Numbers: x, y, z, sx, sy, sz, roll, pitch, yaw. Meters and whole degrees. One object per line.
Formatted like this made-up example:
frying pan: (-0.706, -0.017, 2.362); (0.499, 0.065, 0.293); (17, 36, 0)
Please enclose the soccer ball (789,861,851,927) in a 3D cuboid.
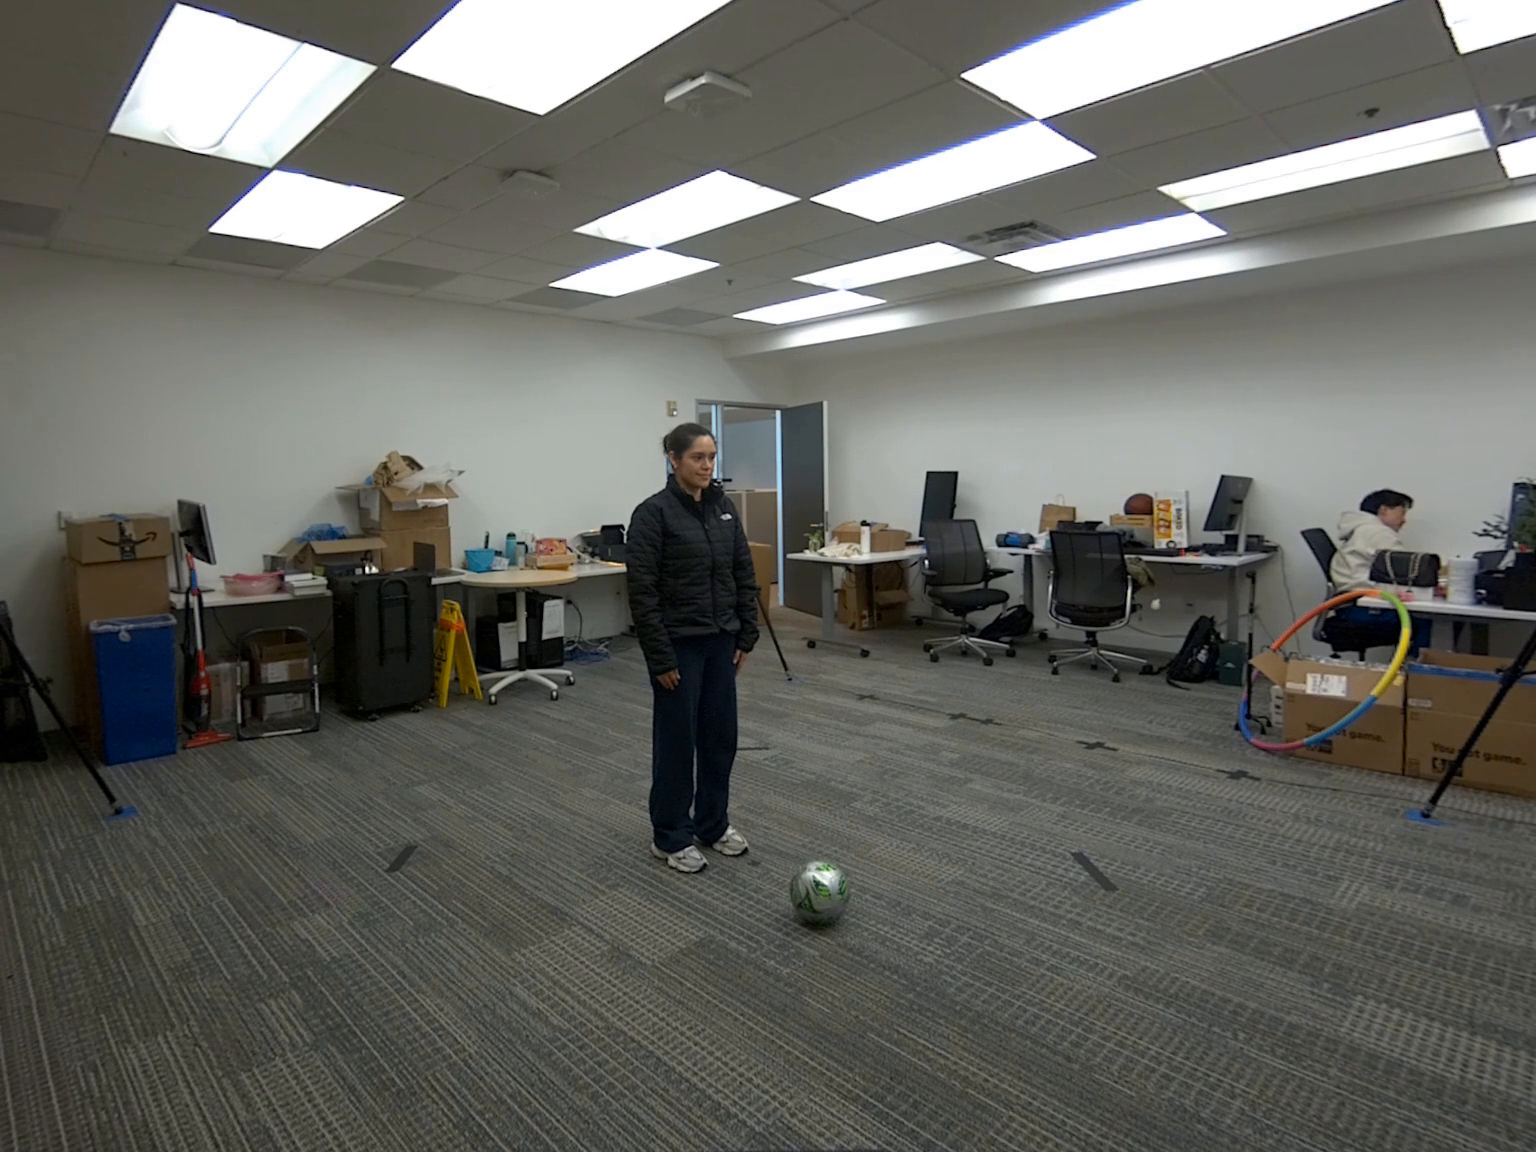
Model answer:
soccer ball: (0.168, 0.995, 2.691); (0.187, 0.187, 0.188); (-1, 5, -2)
